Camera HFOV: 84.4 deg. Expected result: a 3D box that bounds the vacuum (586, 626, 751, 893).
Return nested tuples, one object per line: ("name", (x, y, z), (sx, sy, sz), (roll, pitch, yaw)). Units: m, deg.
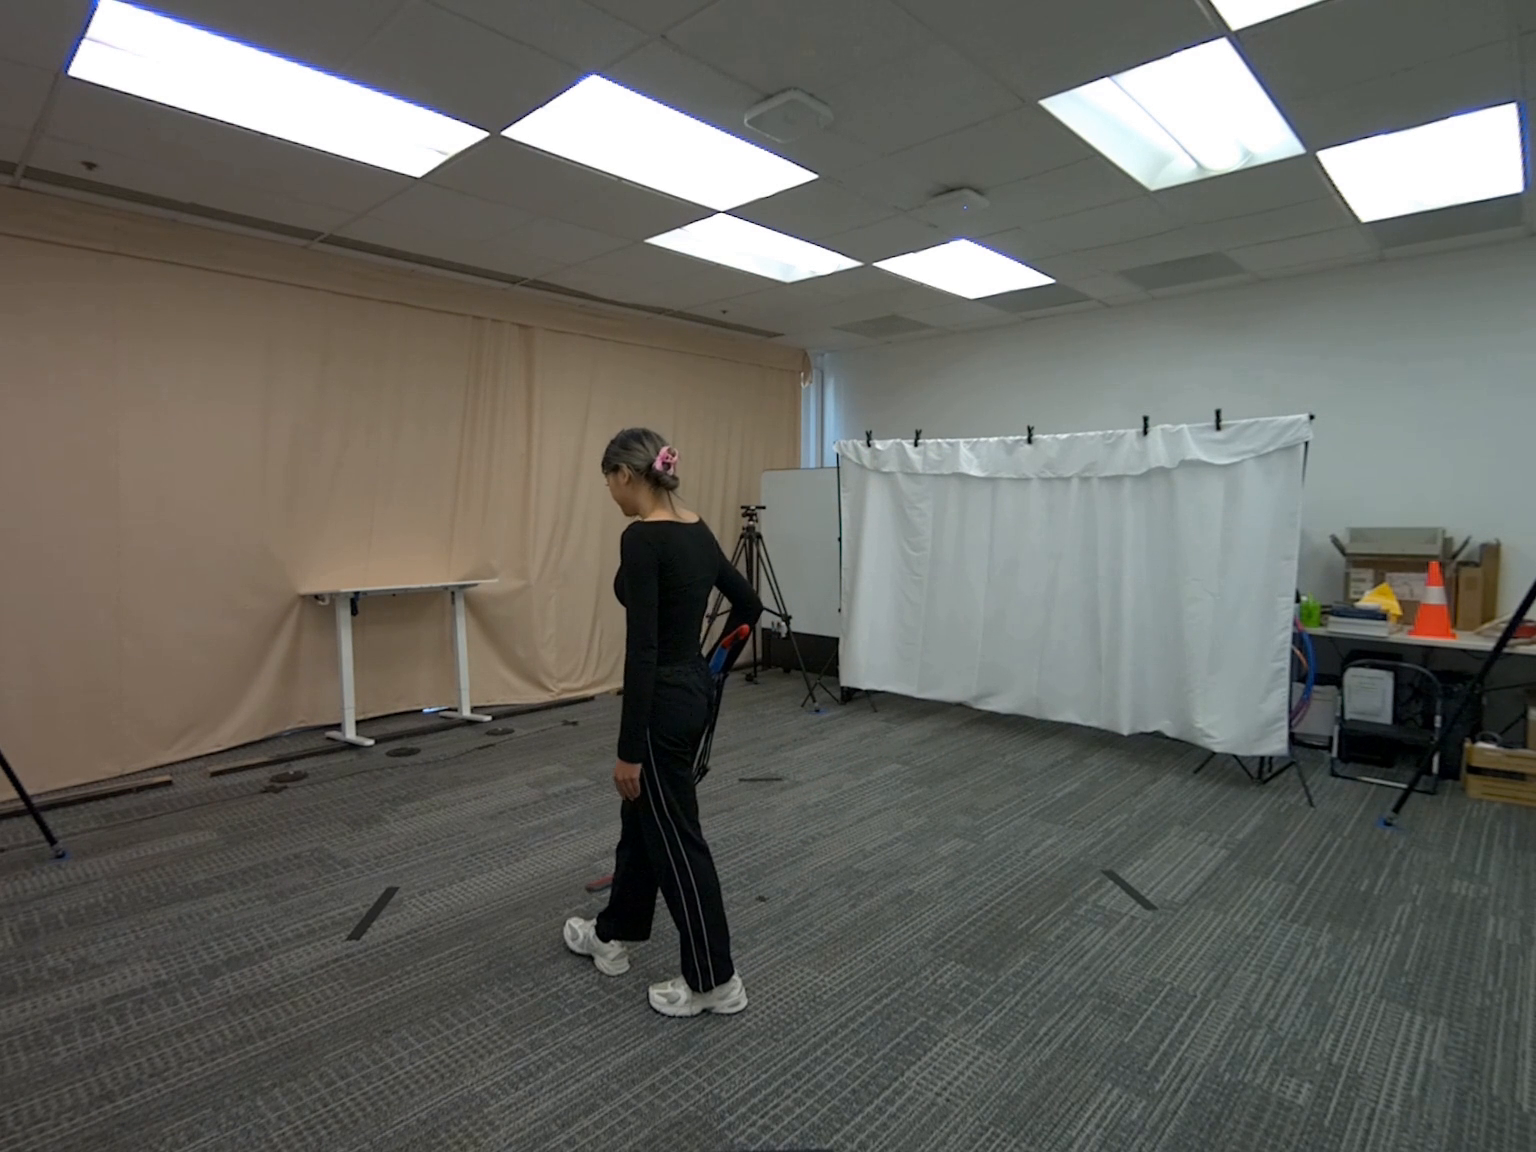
("vacuum", (-0.289, 0.605, 2.663), (0.244, 1.045, 0.149), (0, 32, -44))
